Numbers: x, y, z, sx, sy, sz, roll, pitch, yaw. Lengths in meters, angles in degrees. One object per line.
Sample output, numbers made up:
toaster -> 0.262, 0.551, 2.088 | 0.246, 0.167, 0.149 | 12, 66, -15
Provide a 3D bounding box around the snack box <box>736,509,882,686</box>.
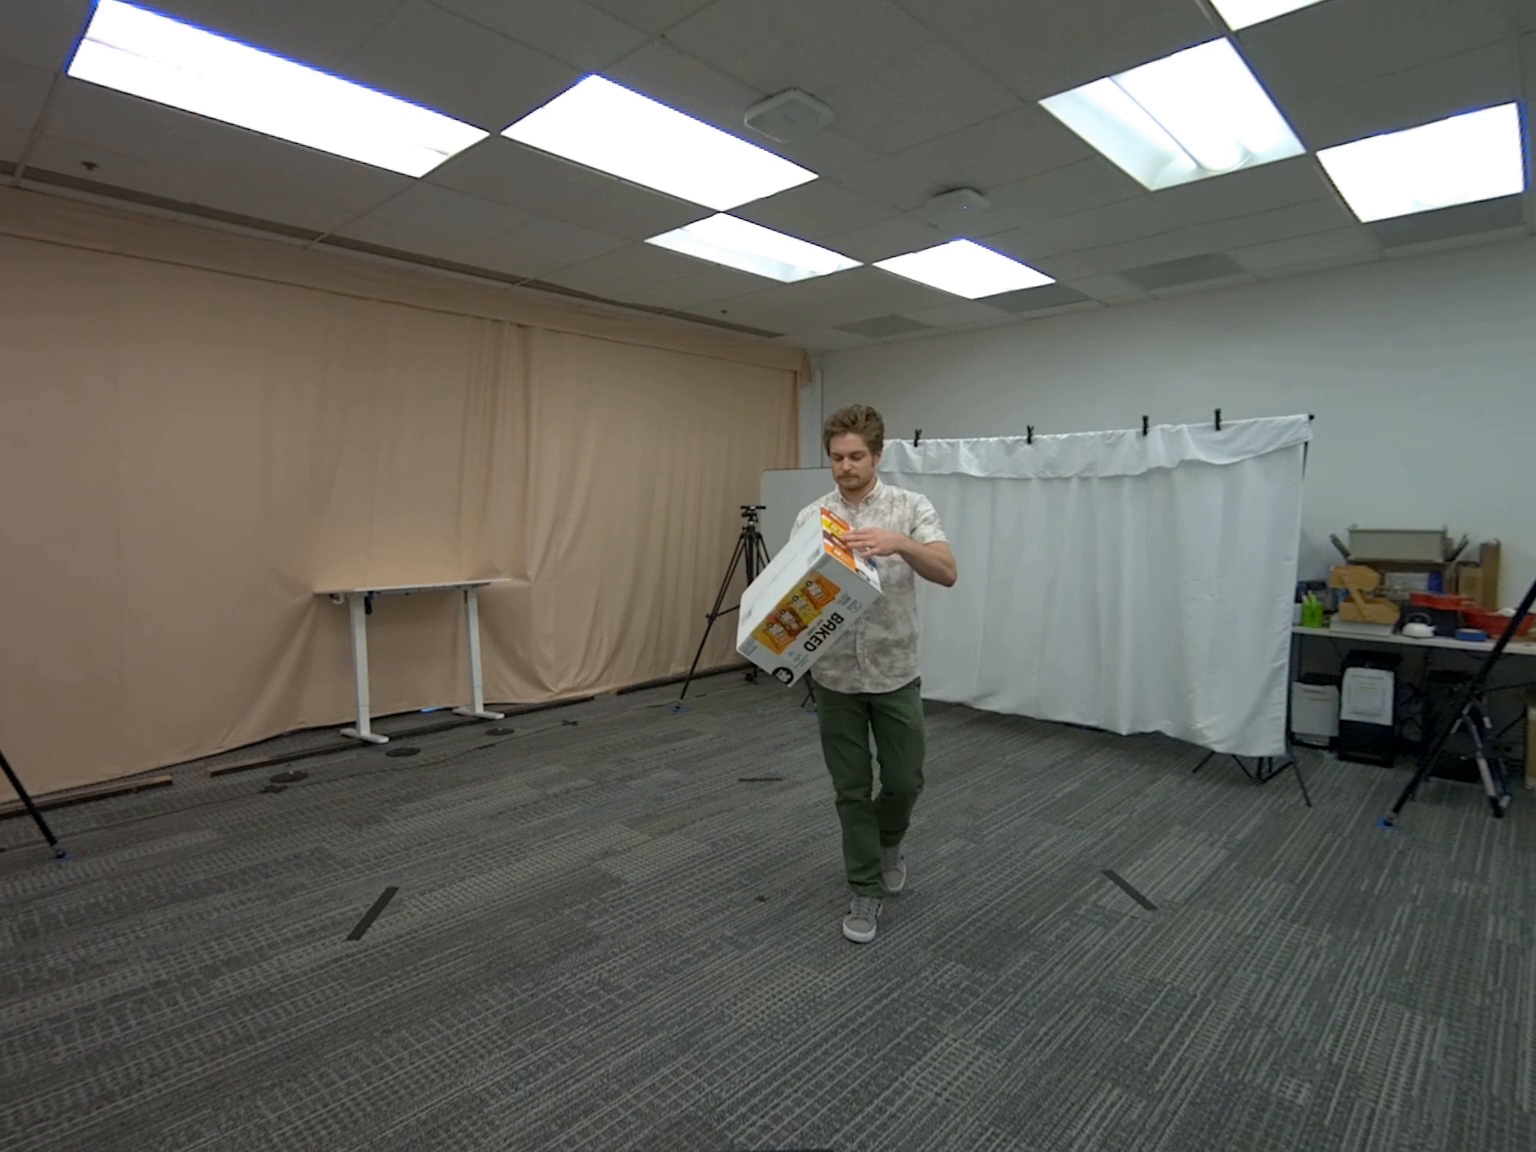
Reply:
snack box -> 0.111, 0.052, 2.500 | 0.202, 0.407, 0.344 | 35, 23, -14
